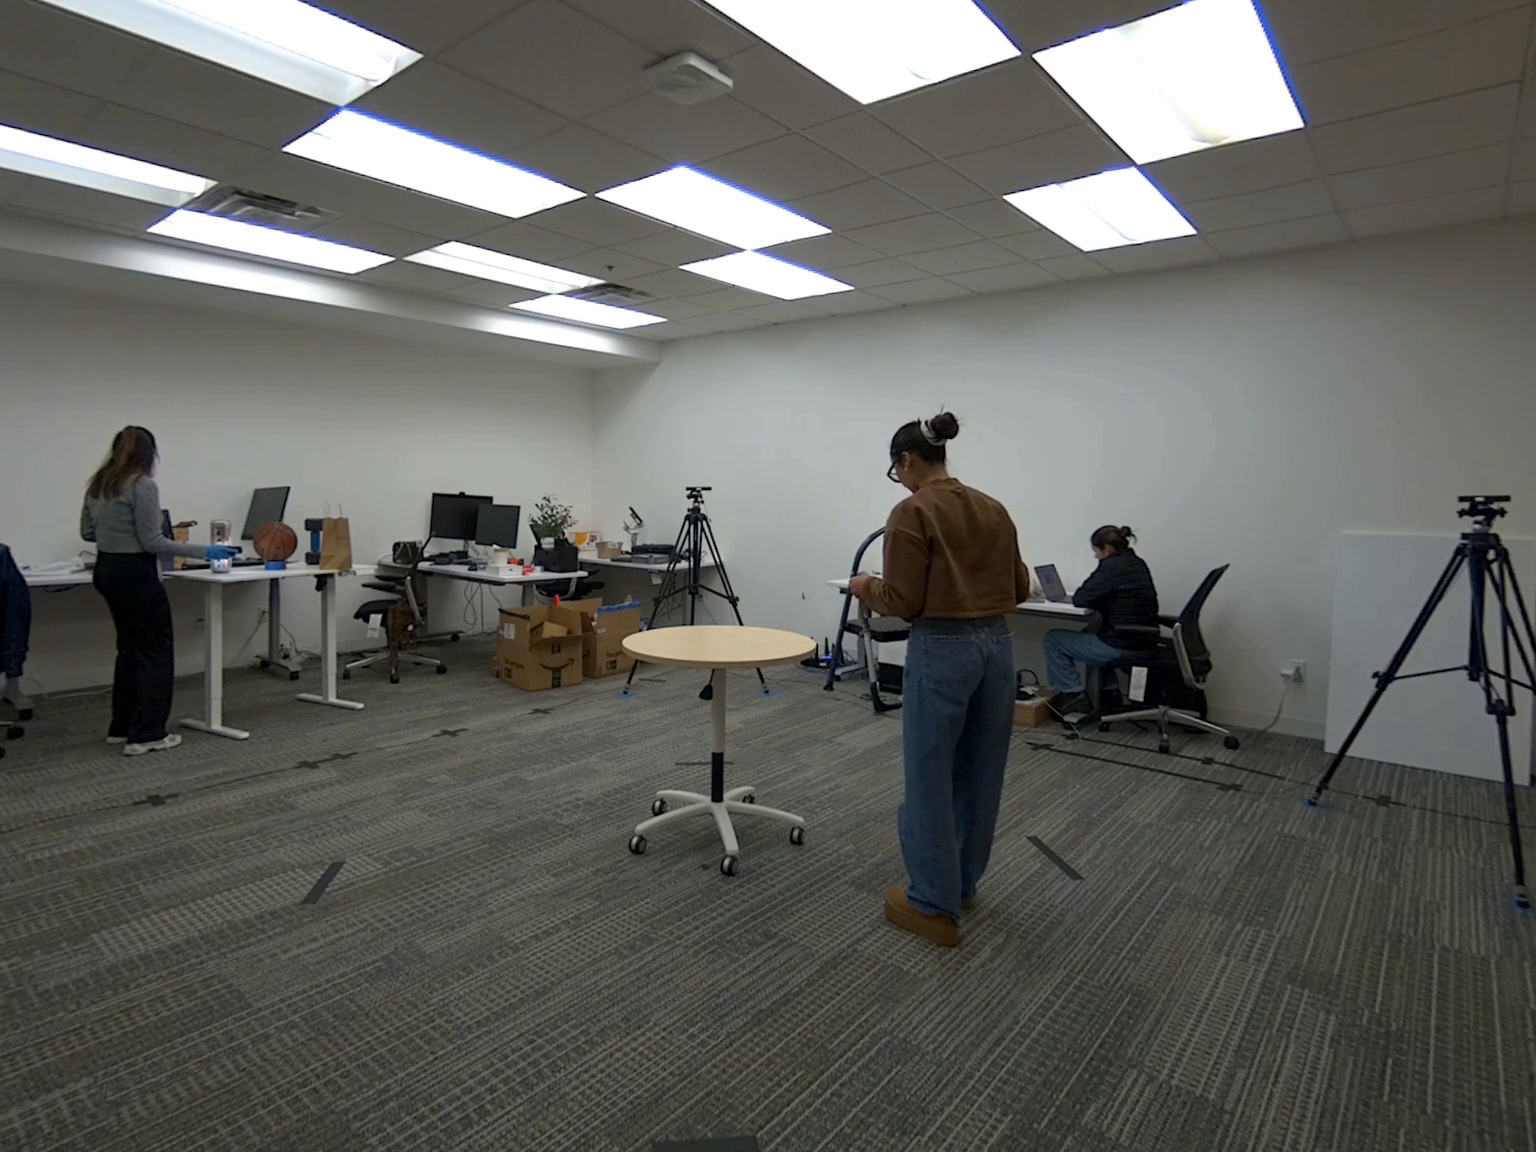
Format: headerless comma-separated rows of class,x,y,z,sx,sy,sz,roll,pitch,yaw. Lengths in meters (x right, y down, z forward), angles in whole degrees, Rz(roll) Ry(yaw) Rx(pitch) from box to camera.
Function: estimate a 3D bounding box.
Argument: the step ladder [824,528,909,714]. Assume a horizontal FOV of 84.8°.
step ladder,0.453,0.111,2.958,0.421,0.602,0.360,-4,8,-26
